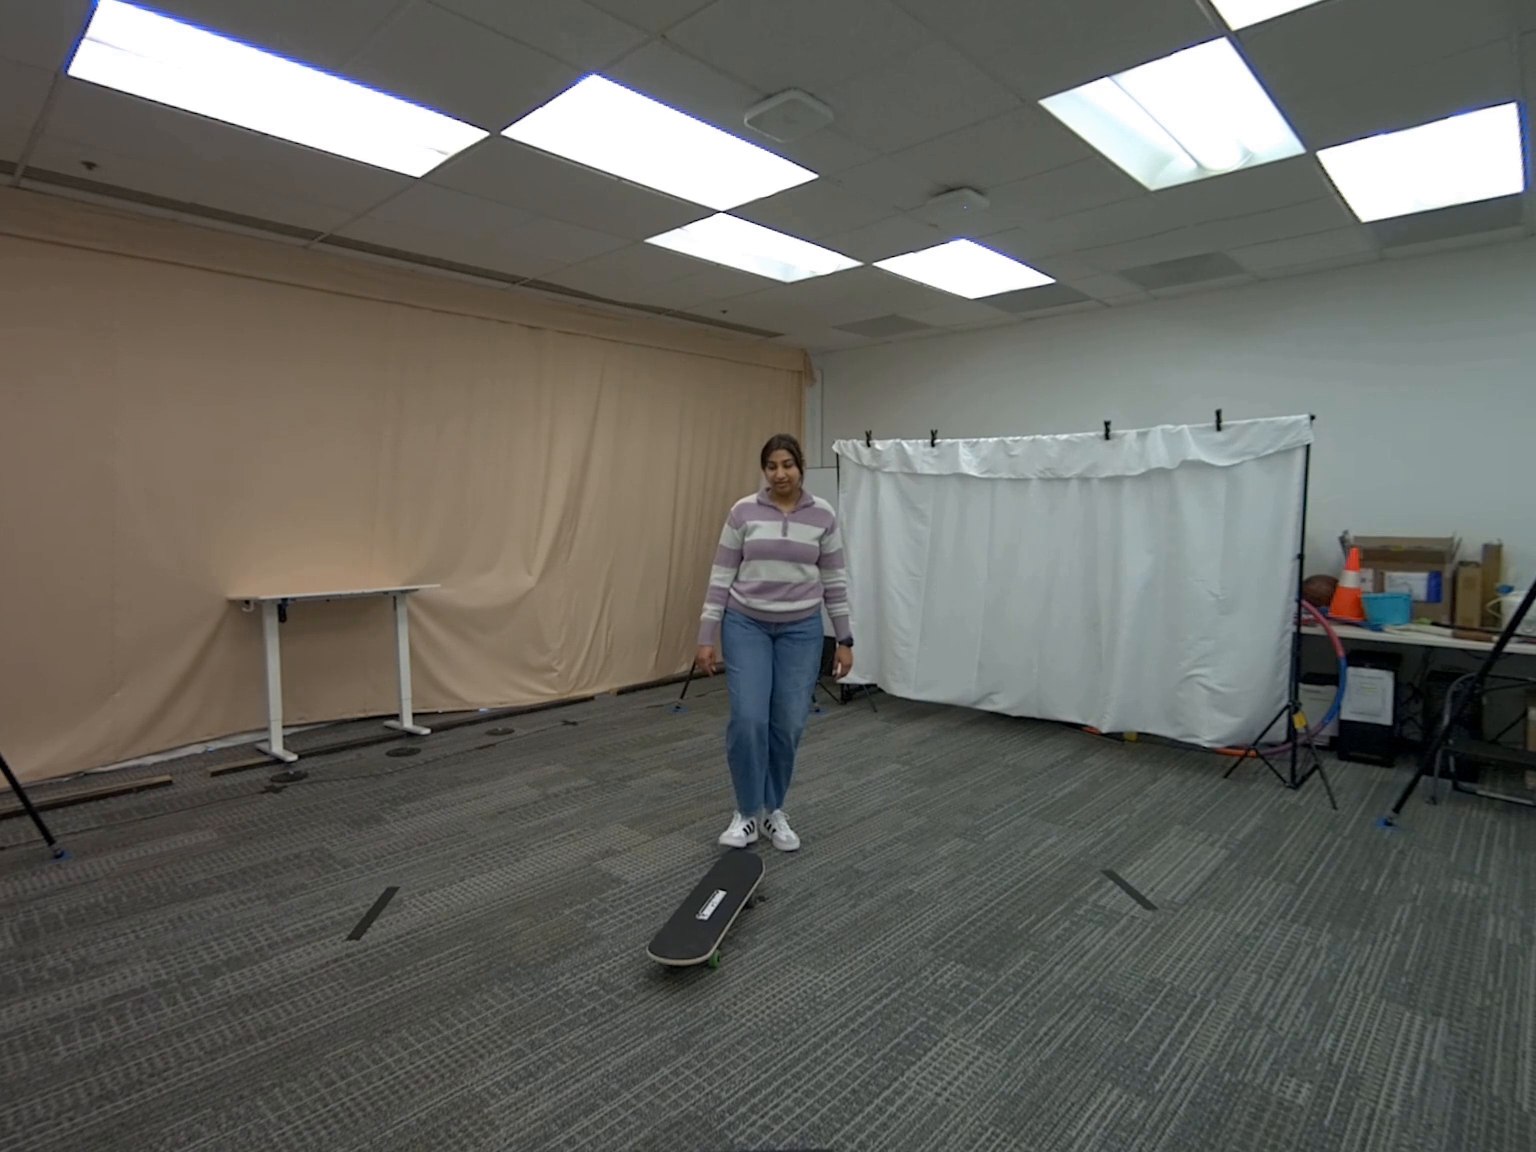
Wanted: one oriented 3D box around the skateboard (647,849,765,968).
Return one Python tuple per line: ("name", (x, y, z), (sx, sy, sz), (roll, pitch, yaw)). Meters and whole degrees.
("skateboard", (-0.185, 1.102, 2.754), (0.197, 0.110, 0.772), (0, 4, 16))
